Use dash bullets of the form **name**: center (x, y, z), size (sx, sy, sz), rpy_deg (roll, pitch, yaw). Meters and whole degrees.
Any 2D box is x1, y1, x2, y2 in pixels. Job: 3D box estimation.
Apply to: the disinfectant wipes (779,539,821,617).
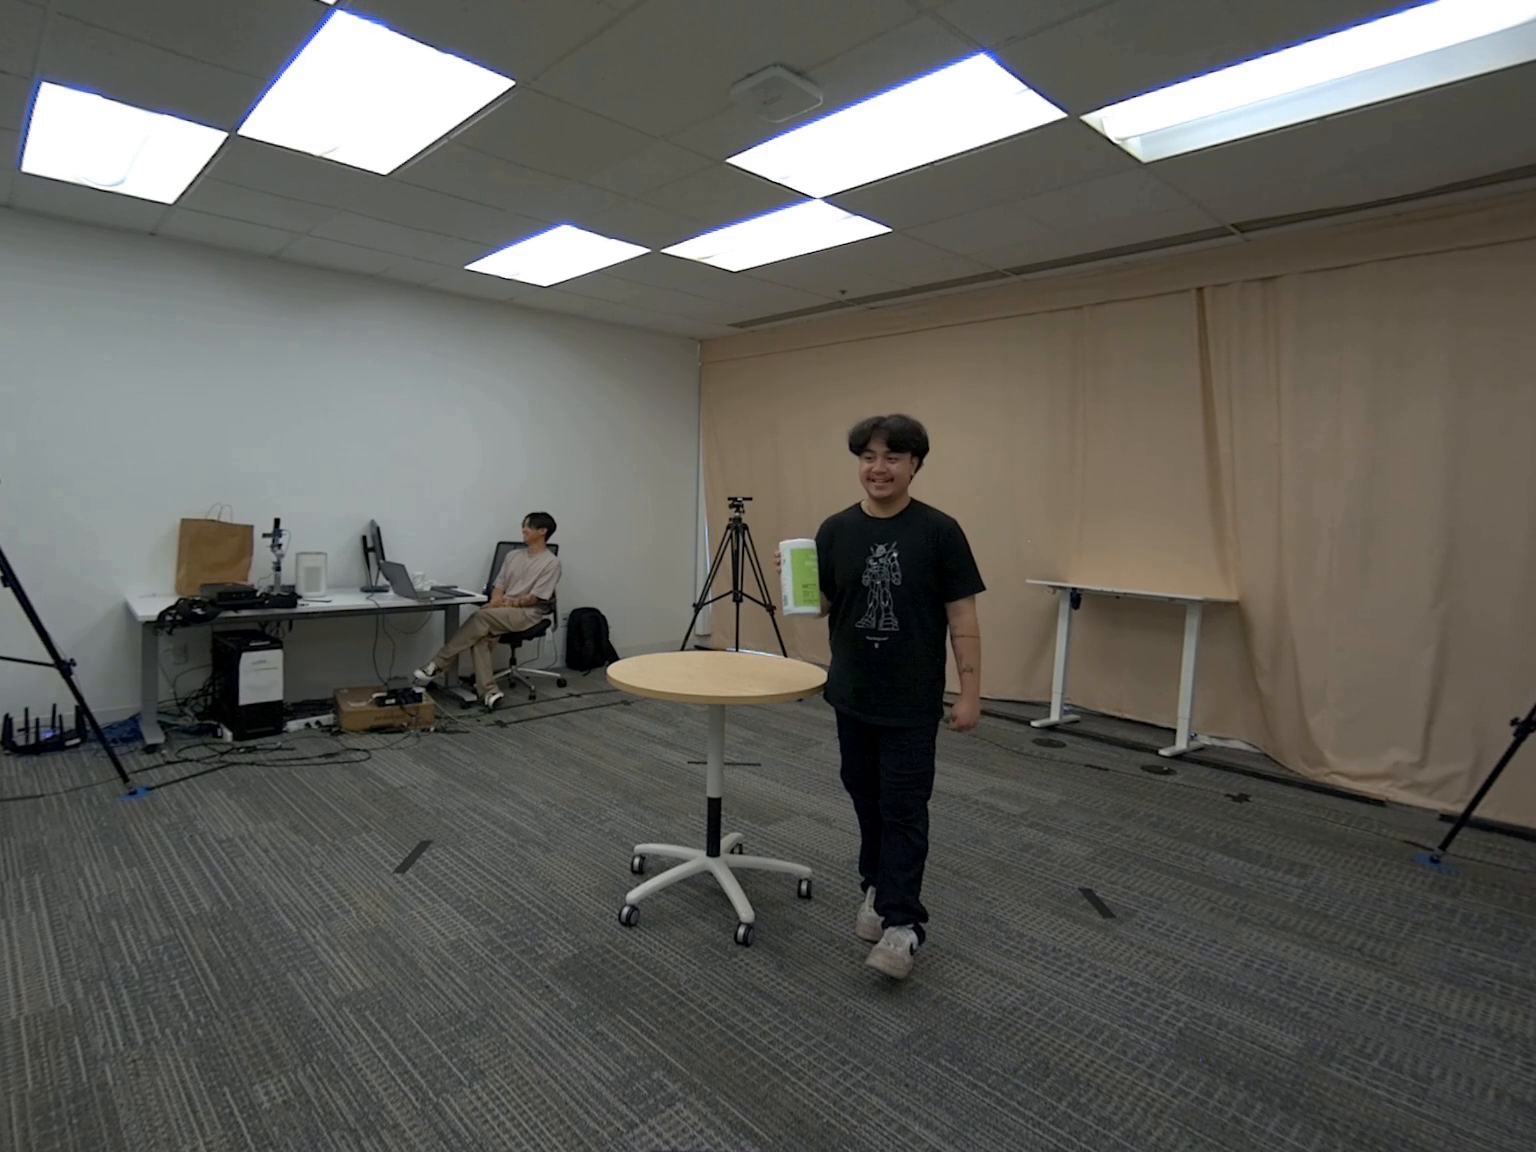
- **disinfectant wipes**: center (0.080, 0.008, 2.420), size (0.118, 0.219, 0.117), rpy_deg (-2, -7, -2)
